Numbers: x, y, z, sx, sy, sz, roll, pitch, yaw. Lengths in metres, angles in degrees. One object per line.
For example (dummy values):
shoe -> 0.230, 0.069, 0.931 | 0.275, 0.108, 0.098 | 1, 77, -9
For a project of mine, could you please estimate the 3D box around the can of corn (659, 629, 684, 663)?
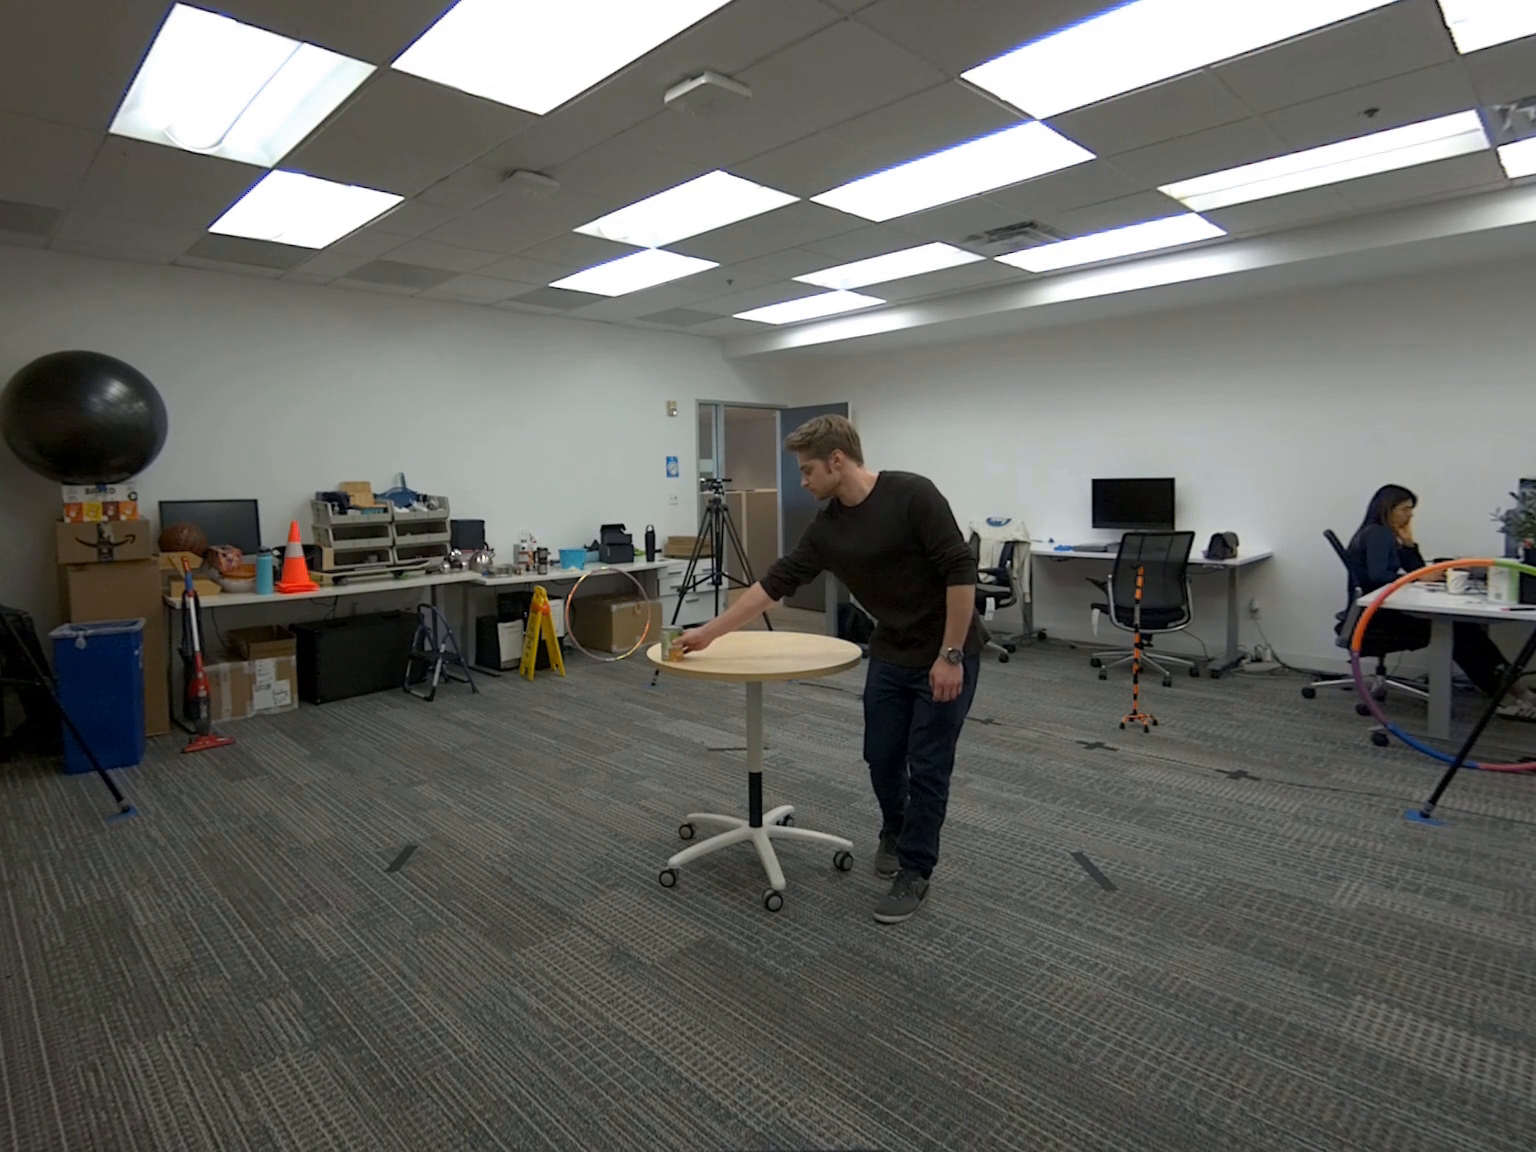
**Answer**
can of corn -> -0.325, 0.230, 2.908 | 0.074, 0.110, 0.074 | 0, 5, -2
